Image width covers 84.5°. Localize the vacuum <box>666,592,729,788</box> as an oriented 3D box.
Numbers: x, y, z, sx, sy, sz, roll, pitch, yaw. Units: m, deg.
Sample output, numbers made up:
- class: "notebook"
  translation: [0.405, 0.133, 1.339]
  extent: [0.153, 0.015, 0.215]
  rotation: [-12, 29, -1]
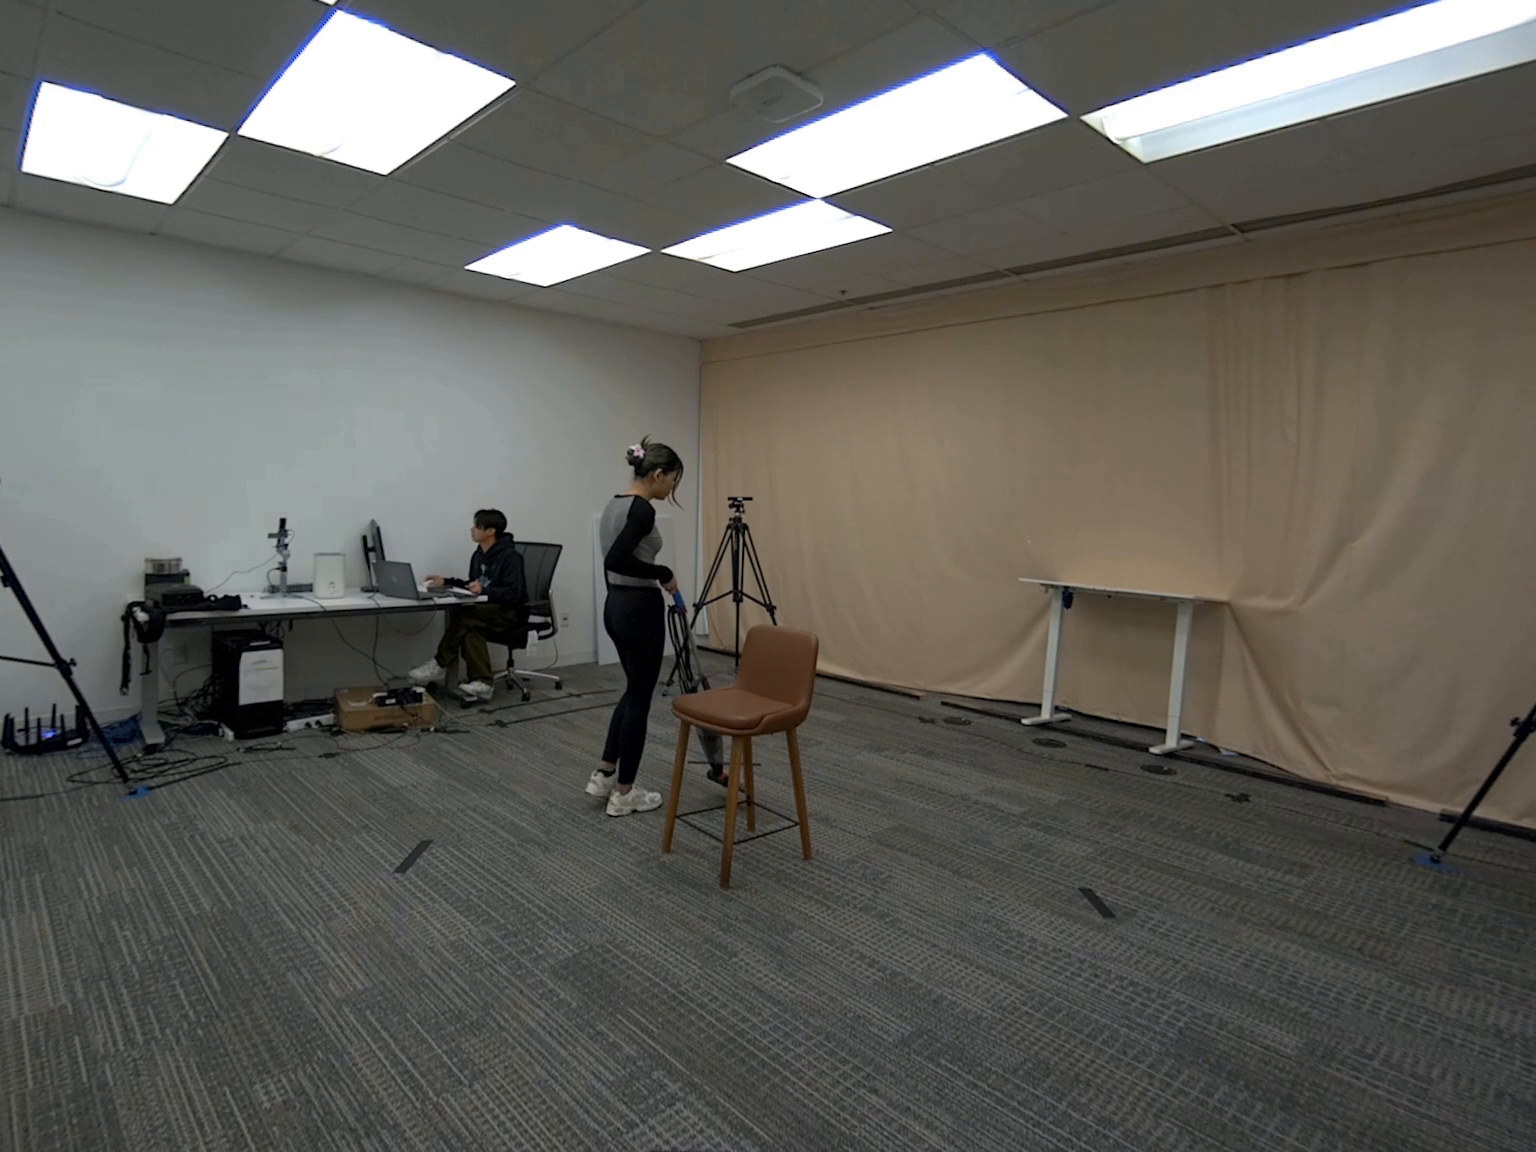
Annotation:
- class: "vacuum"
  translation: [-0.336, 0.461, 3.717]
  extent: [0.142, 1.033, 0.259]
  rotation: [-26, 20, -32]
